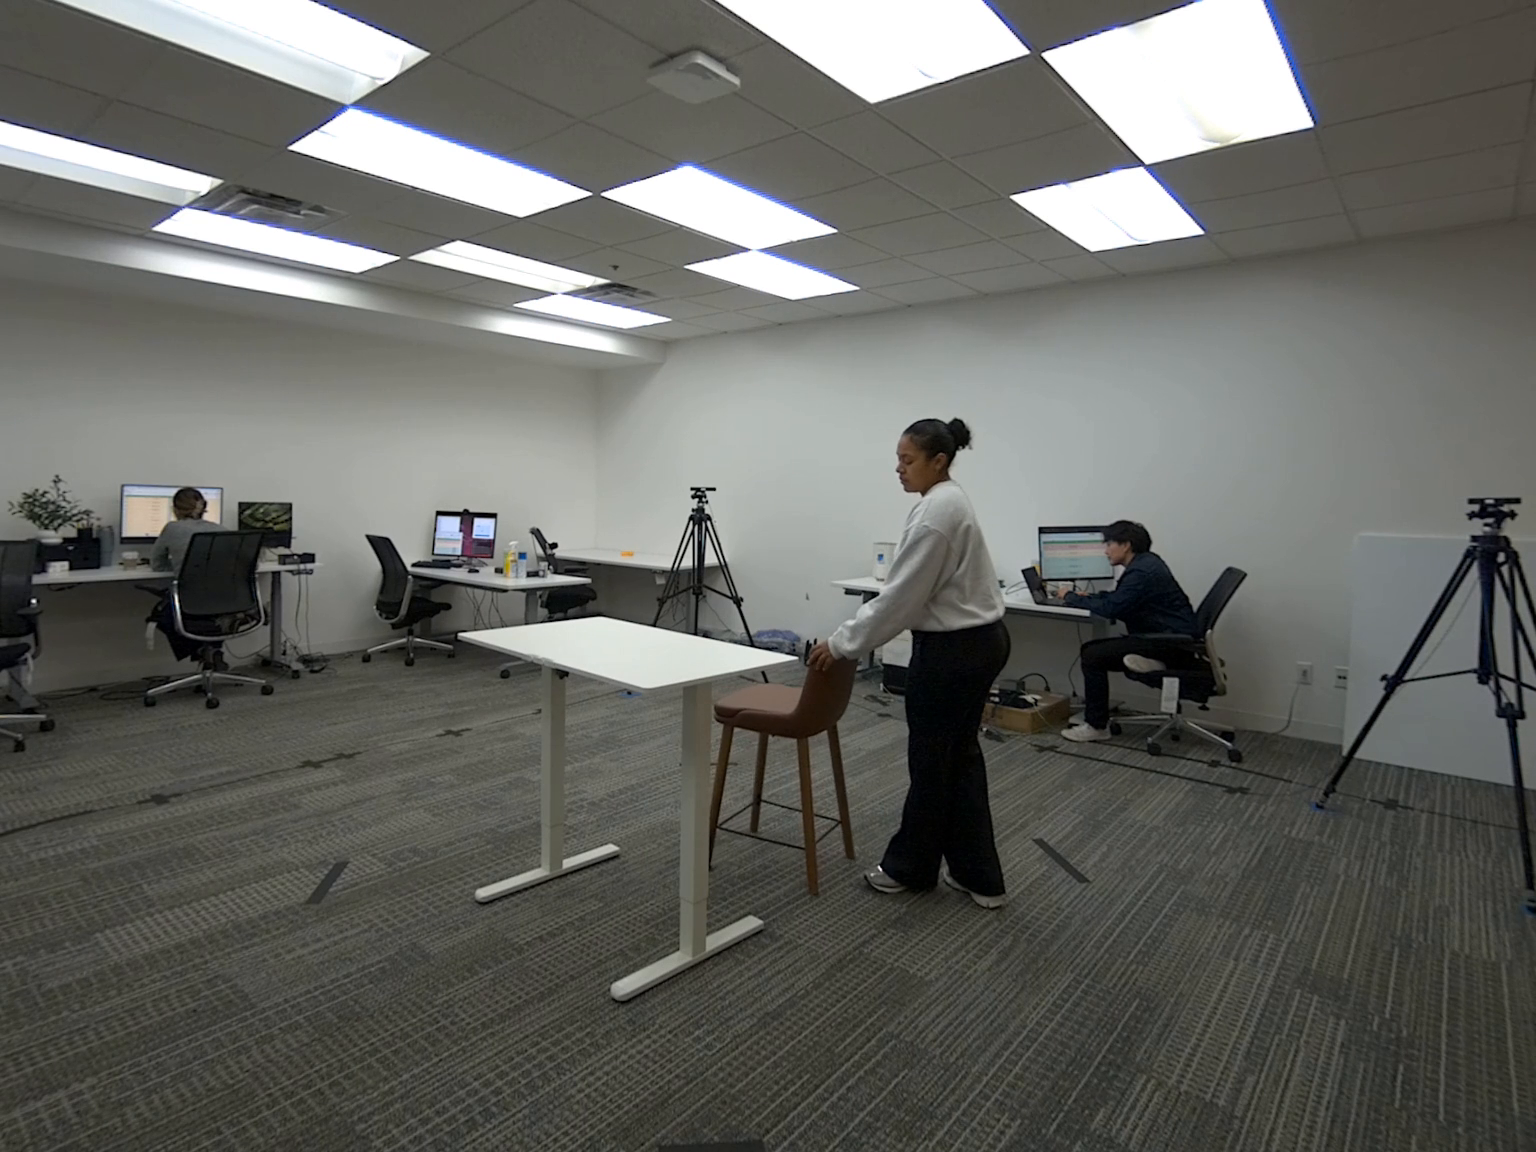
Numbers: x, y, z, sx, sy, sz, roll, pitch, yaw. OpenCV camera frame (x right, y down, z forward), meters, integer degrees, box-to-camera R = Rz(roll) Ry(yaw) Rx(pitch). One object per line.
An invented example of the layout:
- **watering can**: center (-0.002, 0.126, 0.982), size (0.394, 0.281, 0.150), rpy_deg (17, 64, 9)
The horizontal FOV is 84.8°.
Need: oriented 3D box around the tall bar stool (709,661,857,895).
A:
- **tall bar stool**: center (0.063, 0.629, 3.160), size (0.481, 0.887, 0.445), rpy_deg (6, 4, 28)
